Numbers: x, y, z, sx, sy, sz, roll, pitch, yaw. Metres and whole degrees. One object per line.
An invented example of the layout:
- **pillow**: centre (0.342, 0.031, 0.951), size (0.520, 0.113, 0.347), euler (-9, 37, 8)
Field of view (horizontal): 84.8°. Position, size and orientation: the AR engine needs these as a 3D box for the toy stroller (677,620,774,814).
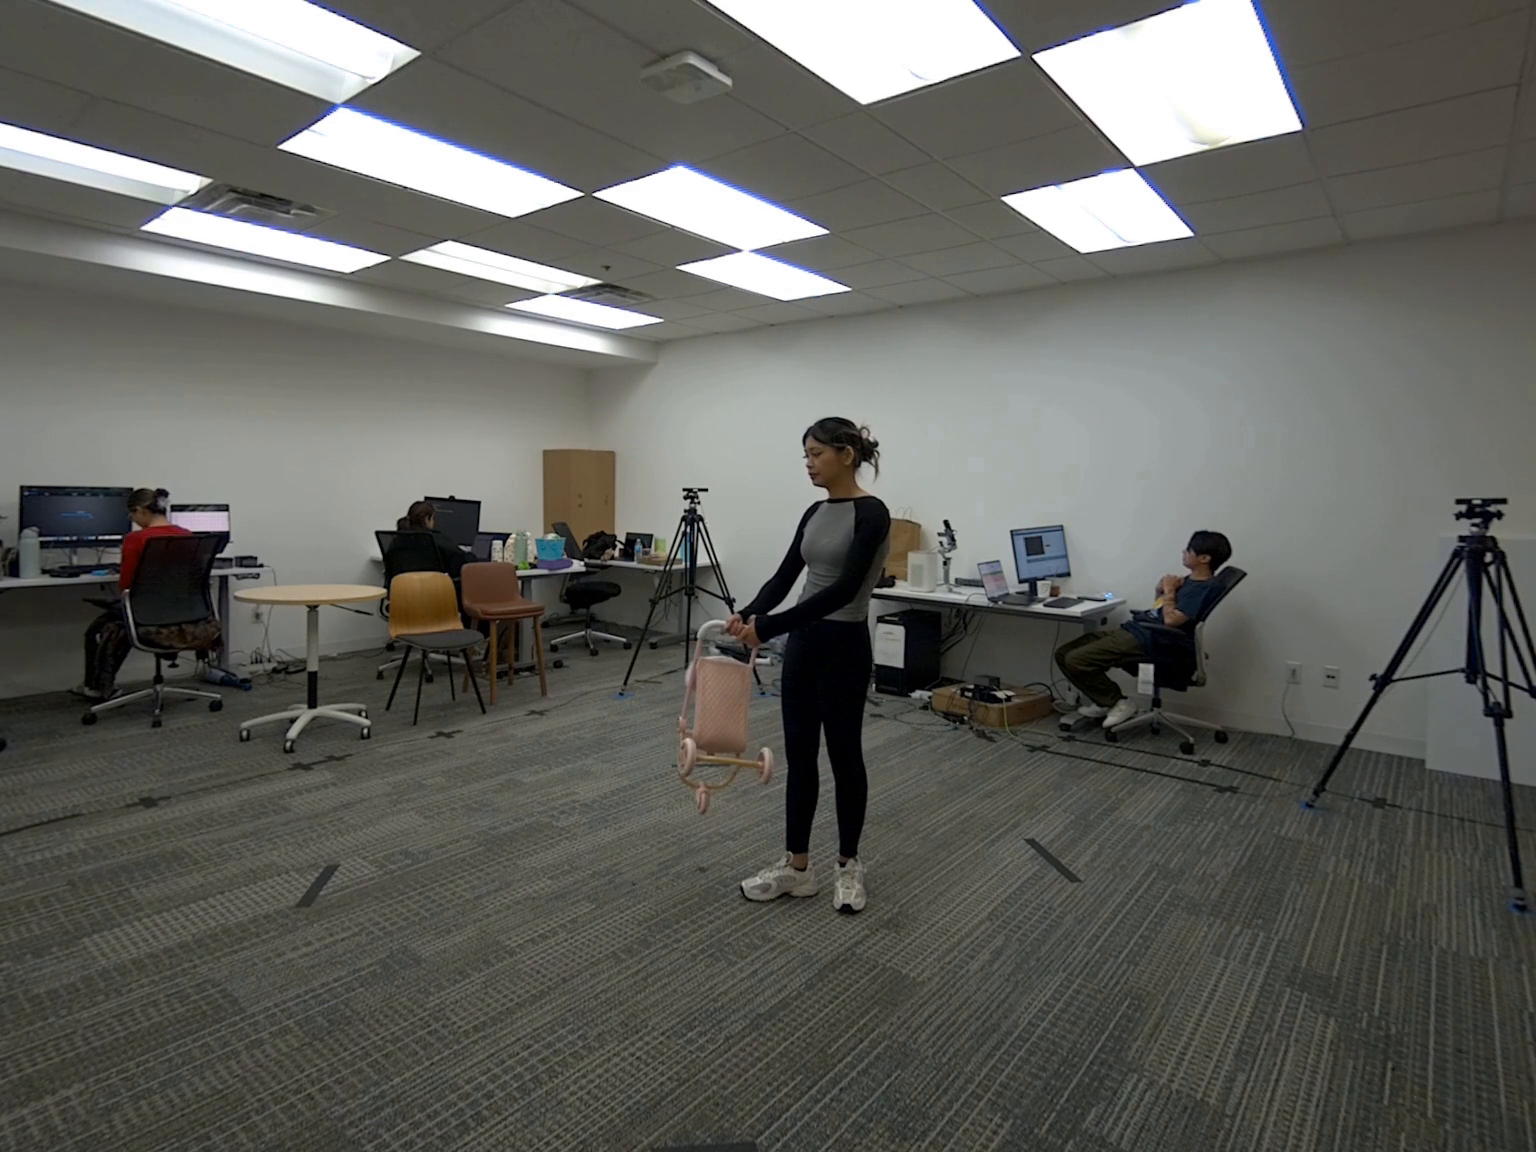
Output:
- **toy stroller**: centre (-0.167, 0.459, 2.728), size (0.277, 0.548, 0.338), euler (6, -29, -15)
